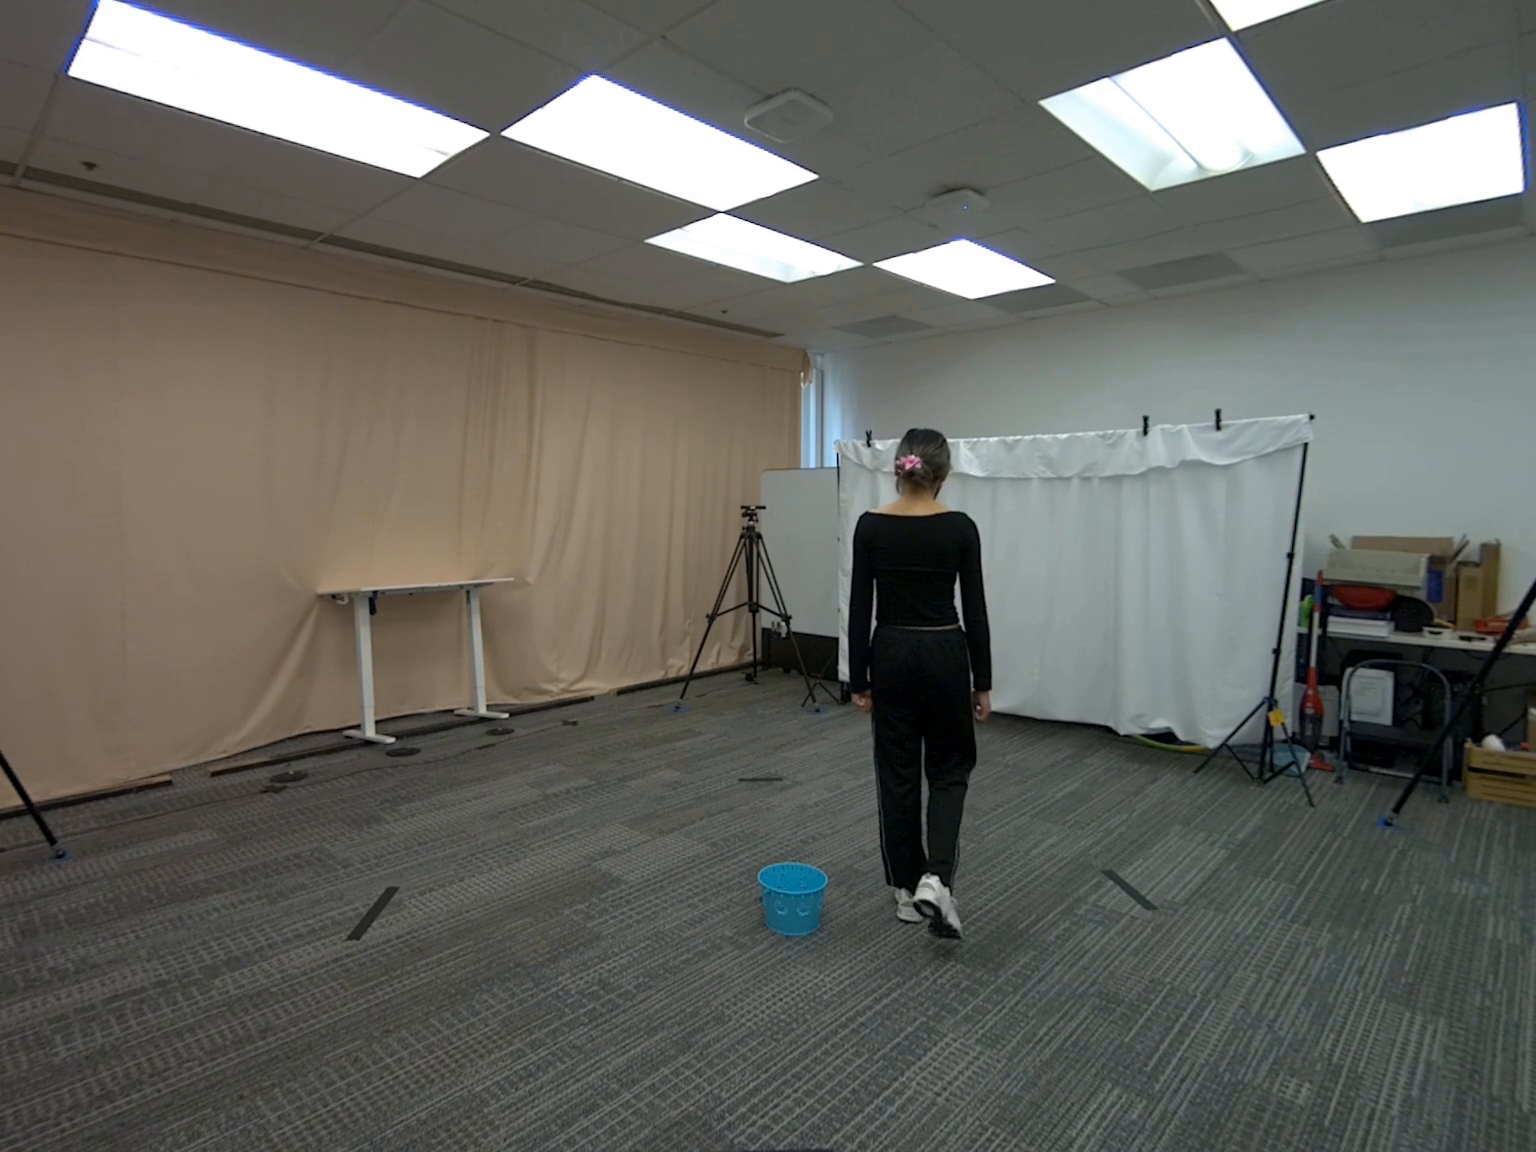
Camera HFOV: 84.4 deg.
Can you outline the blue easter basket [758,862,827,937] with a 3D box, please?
[{"bbox_3d":[0.088,1.083,2.820,0.243,0.155,0.244,-1,5,-2],"label":"blue easter basket"}]
